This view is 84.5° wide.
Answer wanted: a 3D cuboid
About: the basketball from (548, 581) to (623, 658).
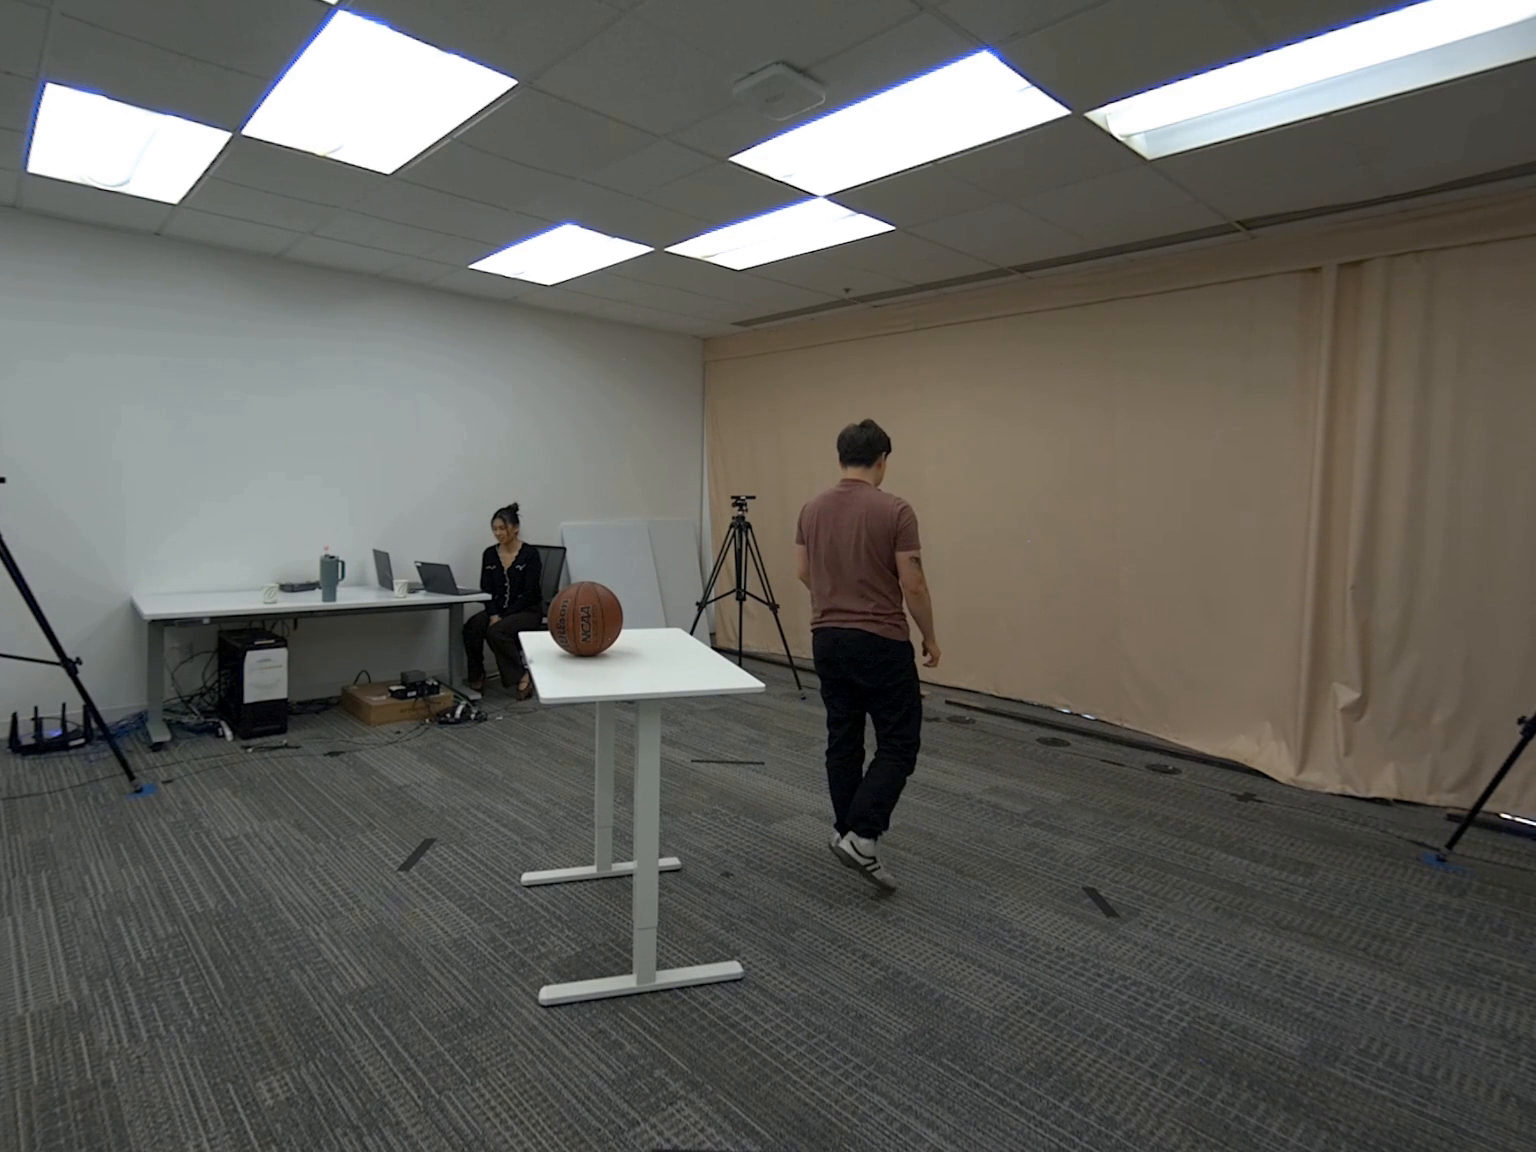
[{"bbox_3d":[-0.588,0.135,2.658,0.236,0.235,0.237,1,4,-1],"label":"basketball"}]
